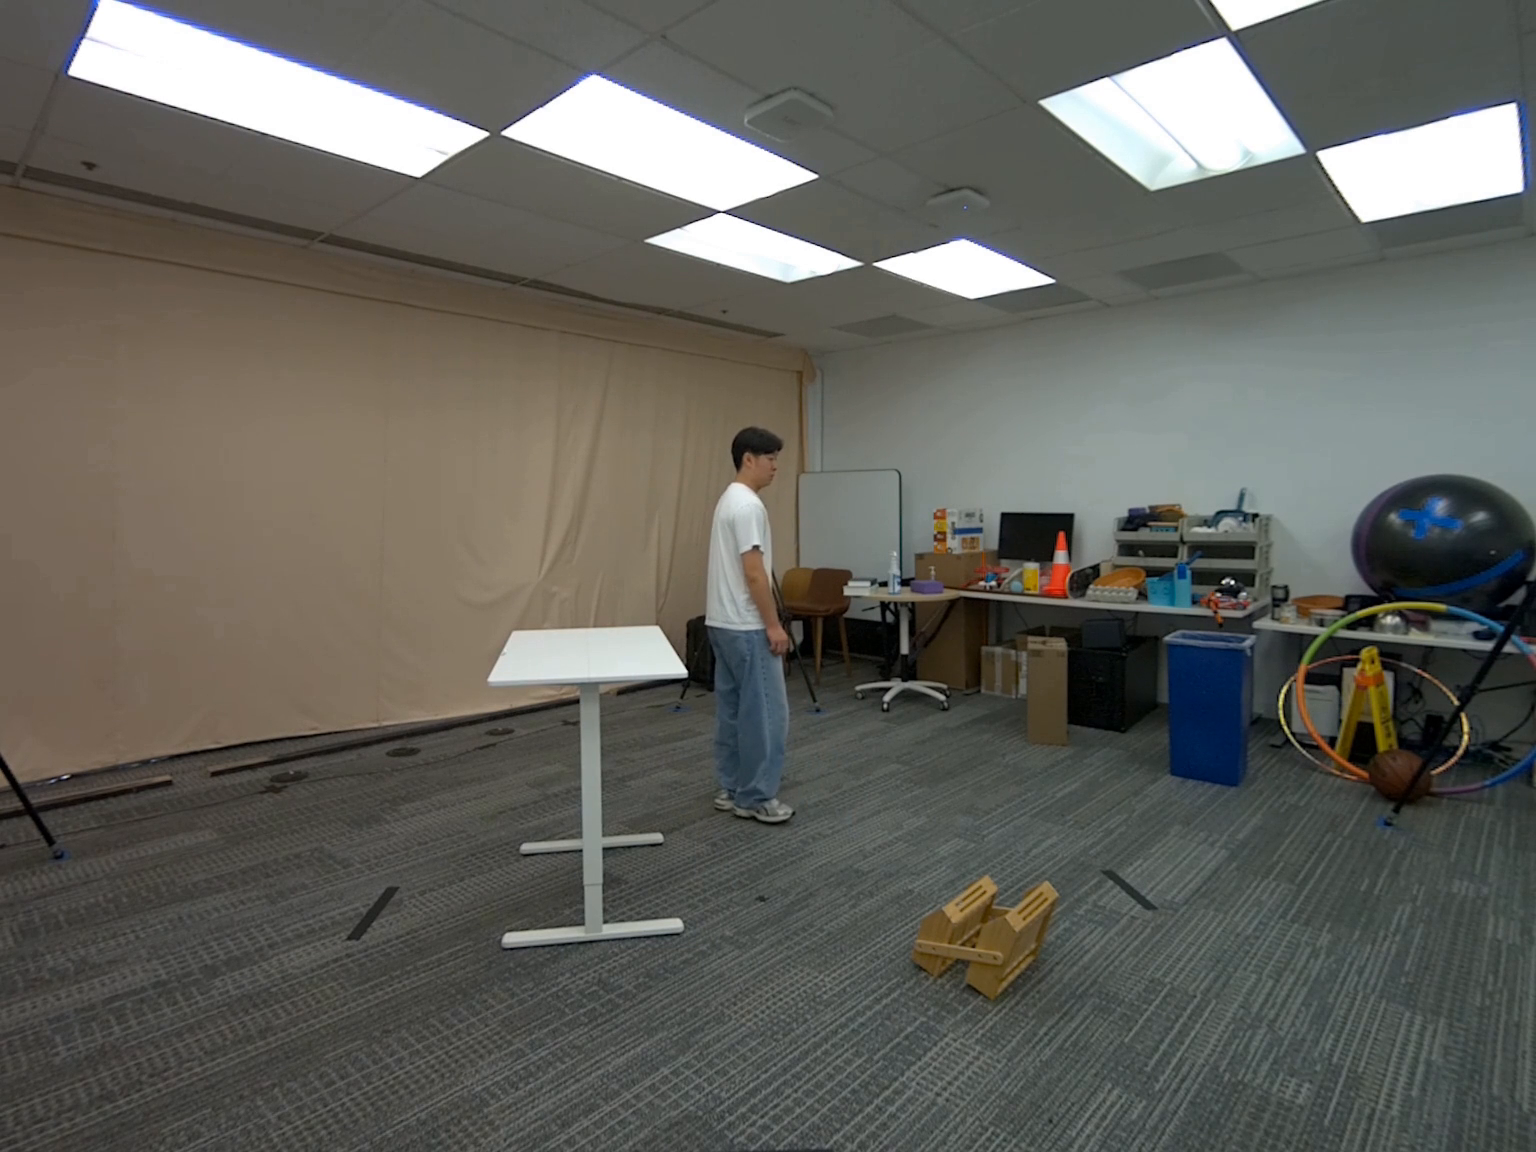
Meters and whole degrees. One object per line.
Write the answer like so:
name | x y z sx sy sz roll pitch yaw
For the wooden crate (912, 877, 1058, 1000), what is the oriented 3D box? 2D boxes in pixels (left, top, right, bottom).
wooden crate | 0.652 1.043 2.534 0.283 0.300 0.314 25 19 37
